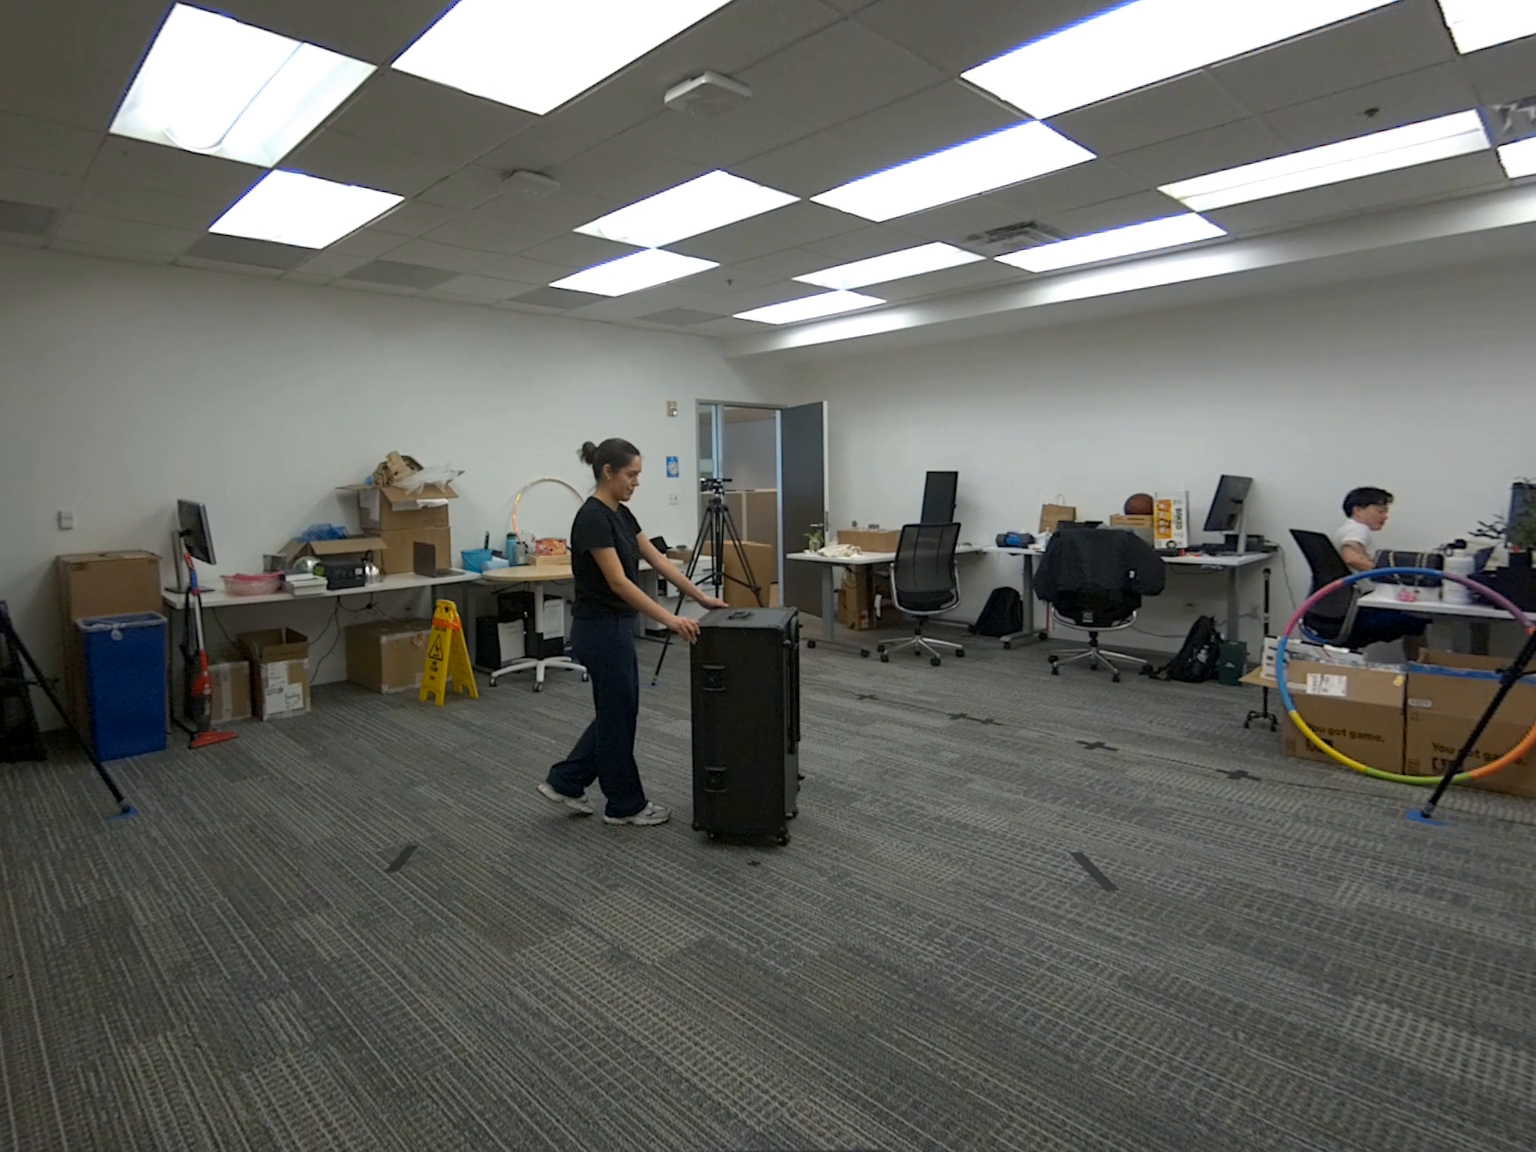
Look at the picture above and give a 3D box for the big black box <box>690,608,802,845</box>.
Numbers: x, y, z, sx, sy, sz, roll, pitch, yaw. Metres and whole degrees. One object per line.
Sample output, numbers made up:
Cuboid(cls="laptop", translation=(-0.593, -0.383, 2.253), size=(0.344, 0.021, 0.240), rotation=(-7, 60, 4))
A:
Cuboid(cls="big black box", translation=(-0.071, 0.585, 3.420), size=(0.400, 0.858, 0.518), rotation=(0, 4, 9))
